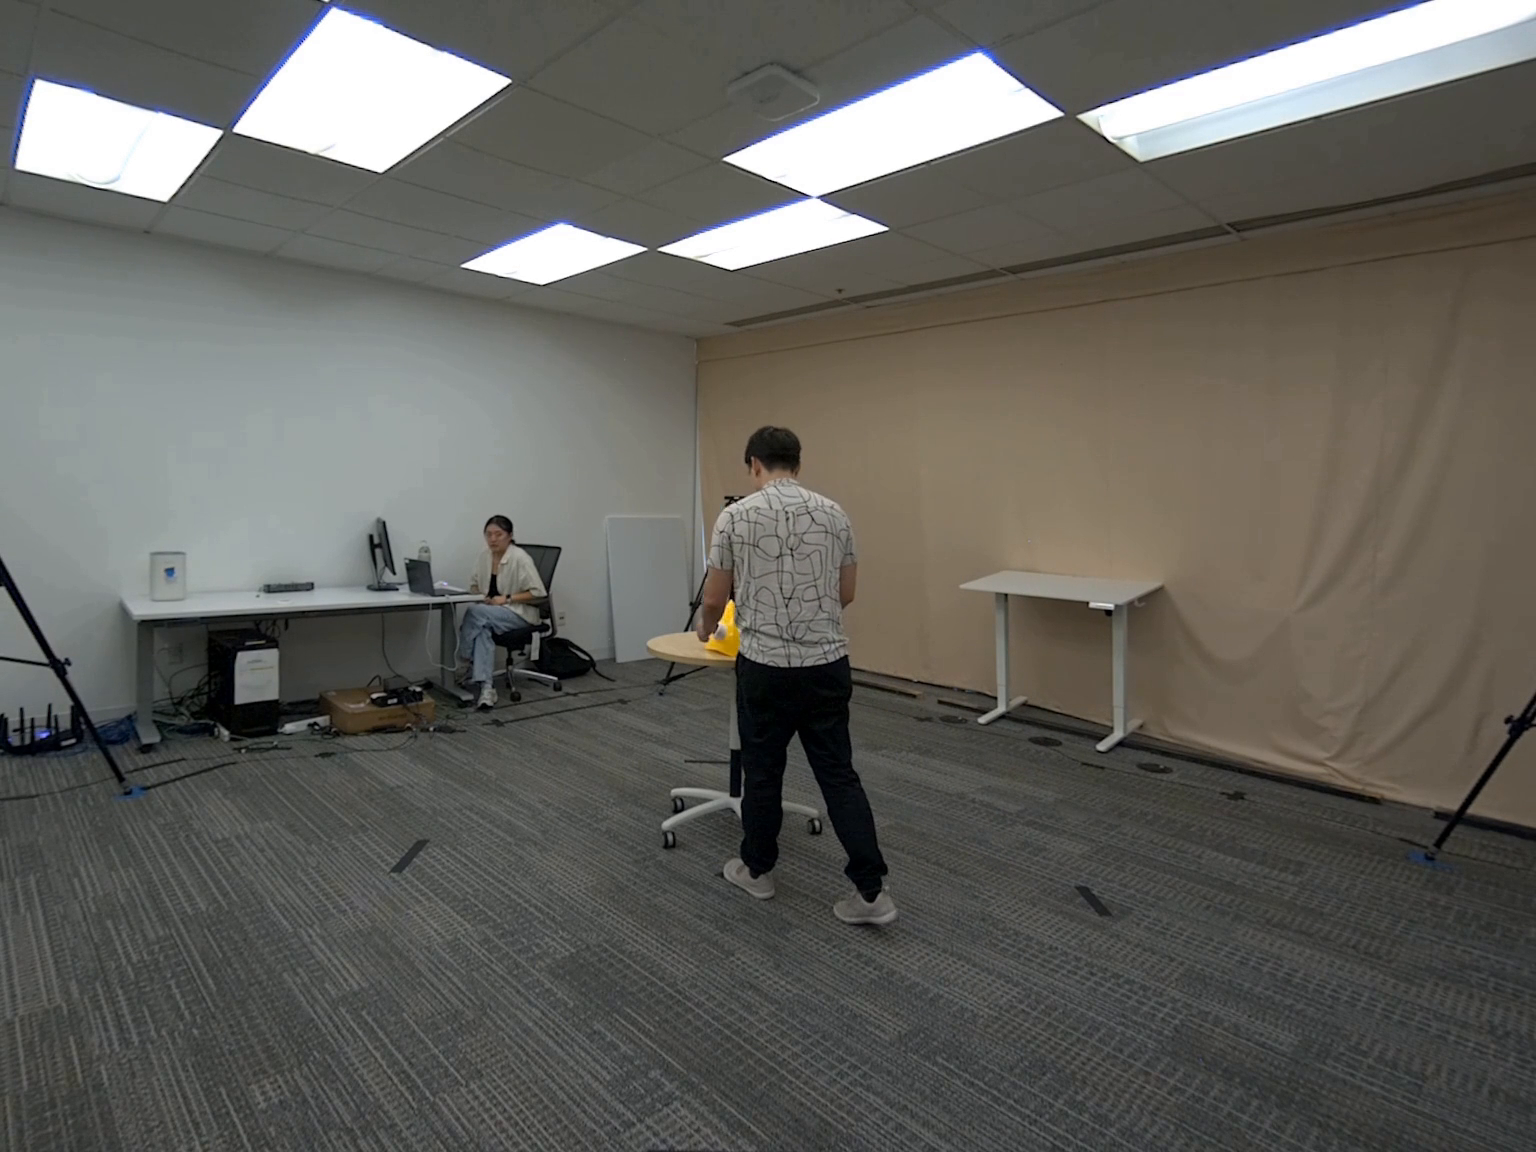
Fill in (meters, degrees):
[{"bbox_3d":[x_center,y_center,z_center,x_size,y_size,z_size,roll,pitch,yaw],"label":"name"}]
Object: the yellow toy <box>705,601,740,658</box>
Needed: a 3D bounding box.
[{"bbox_3d":[-0.145,0.214,3.298,0.204,0.191,0.234,1,17,-6],"label":"yellow toy"}]
